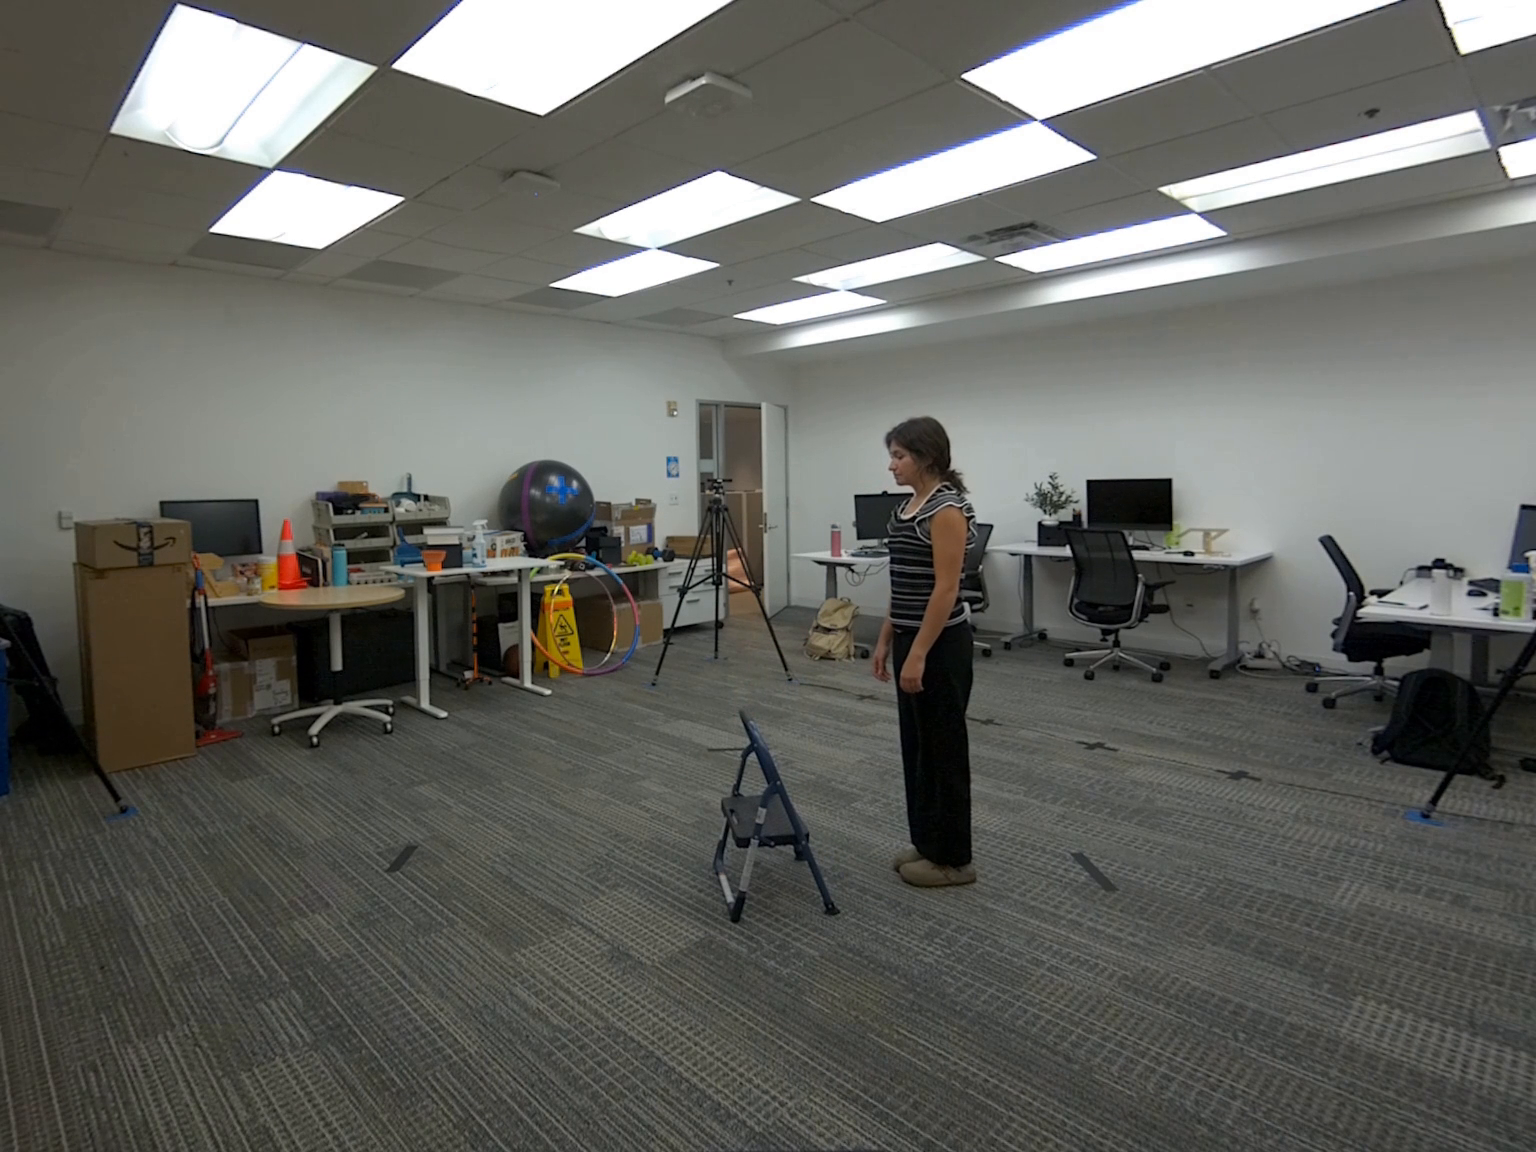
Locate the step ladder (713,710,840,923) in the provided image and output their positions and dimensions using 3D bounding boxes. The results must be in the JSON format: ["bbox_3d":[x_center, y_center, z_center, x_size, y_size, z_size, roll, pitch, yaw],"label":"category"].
[{"bbox_3d":[0.012,0.767,2.898,0.346,0.604,0.437,-1,4,-11],"label":"step ladder"}]
